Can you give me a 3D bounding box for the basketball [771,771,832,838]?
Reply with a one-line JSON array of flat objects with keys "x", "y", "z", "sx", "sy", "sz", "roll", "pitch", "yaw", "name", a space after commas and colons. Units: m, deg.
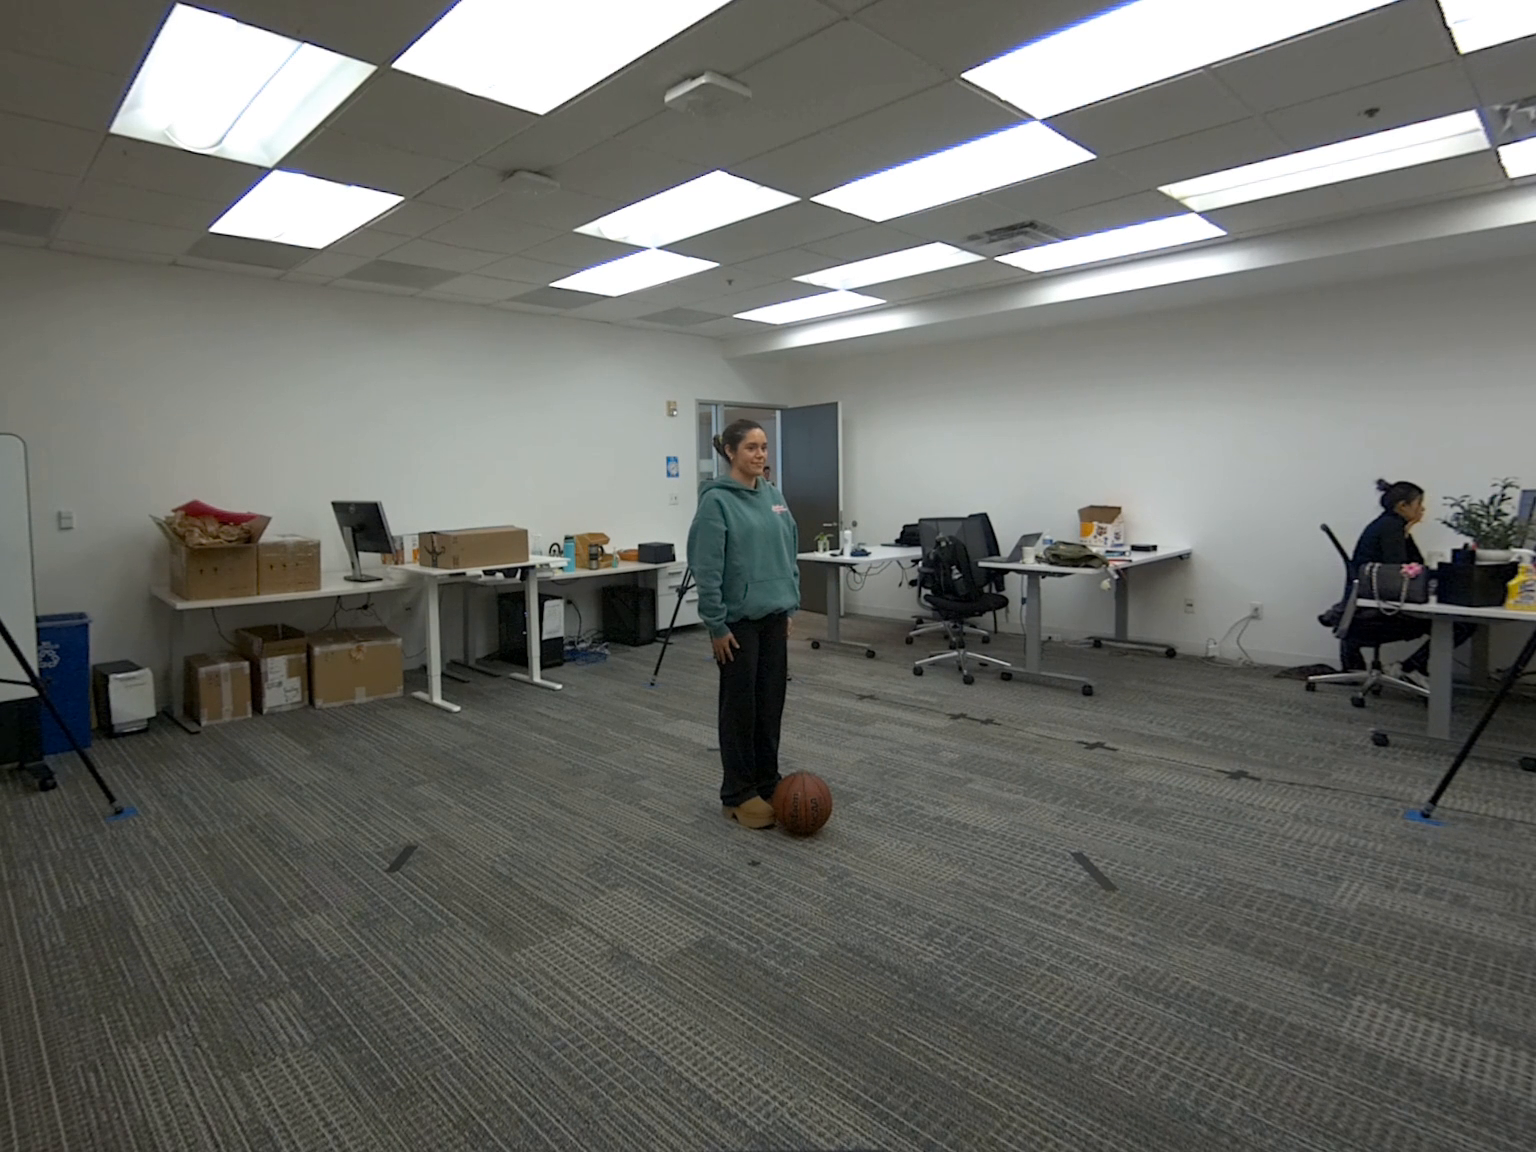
[{"x": 0.137, "y": 0.894, "z": 3.375, "sx": 0.236, "sy": 0.235, "sz": 0.237, "roll": -1, "pitch": 5, "yaw": -2, "name": "basketball"}]
